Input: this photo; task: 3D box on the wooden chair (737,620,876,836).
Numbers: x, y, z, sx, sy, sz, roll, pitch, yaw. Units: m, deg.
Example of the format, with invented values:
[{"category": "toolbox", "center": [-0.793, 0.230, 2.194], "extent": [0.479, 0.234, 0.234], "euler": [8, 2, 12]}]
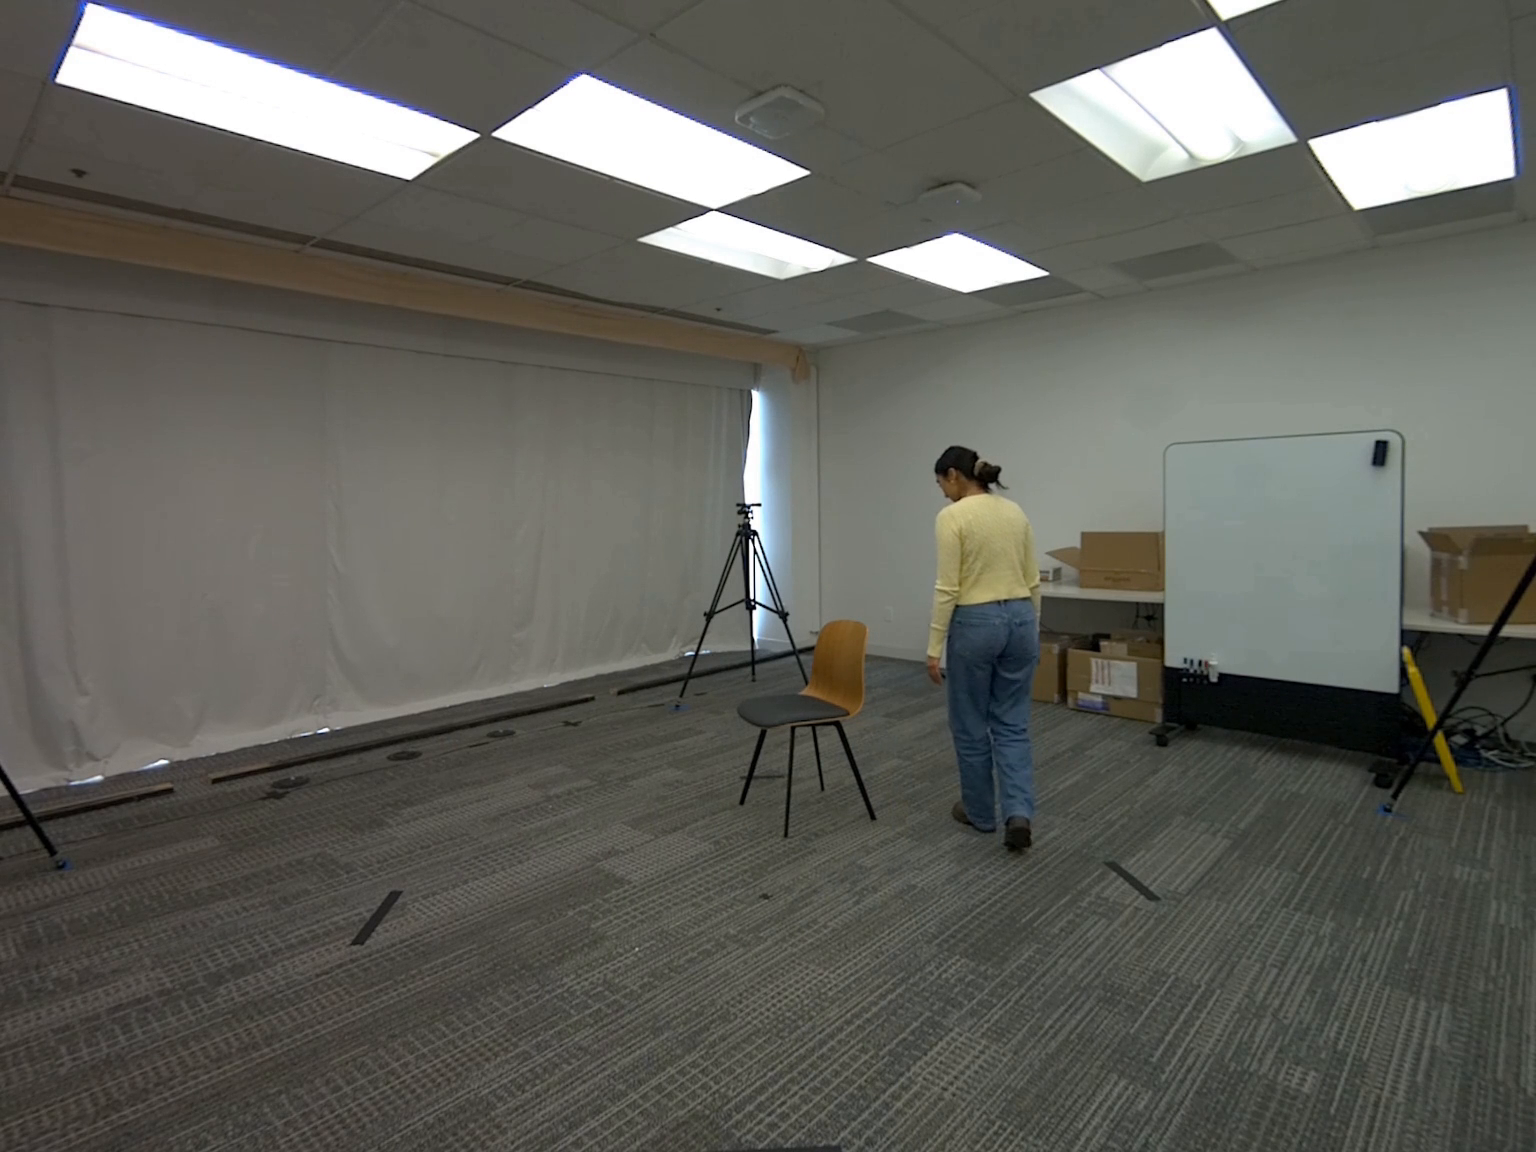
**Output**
[{"category": "wooden chair", "center": [0.157, 0.641, 3.758], "extent": [0.510, 0.876, 0.491], "euler": [2, 2, -26]}]
